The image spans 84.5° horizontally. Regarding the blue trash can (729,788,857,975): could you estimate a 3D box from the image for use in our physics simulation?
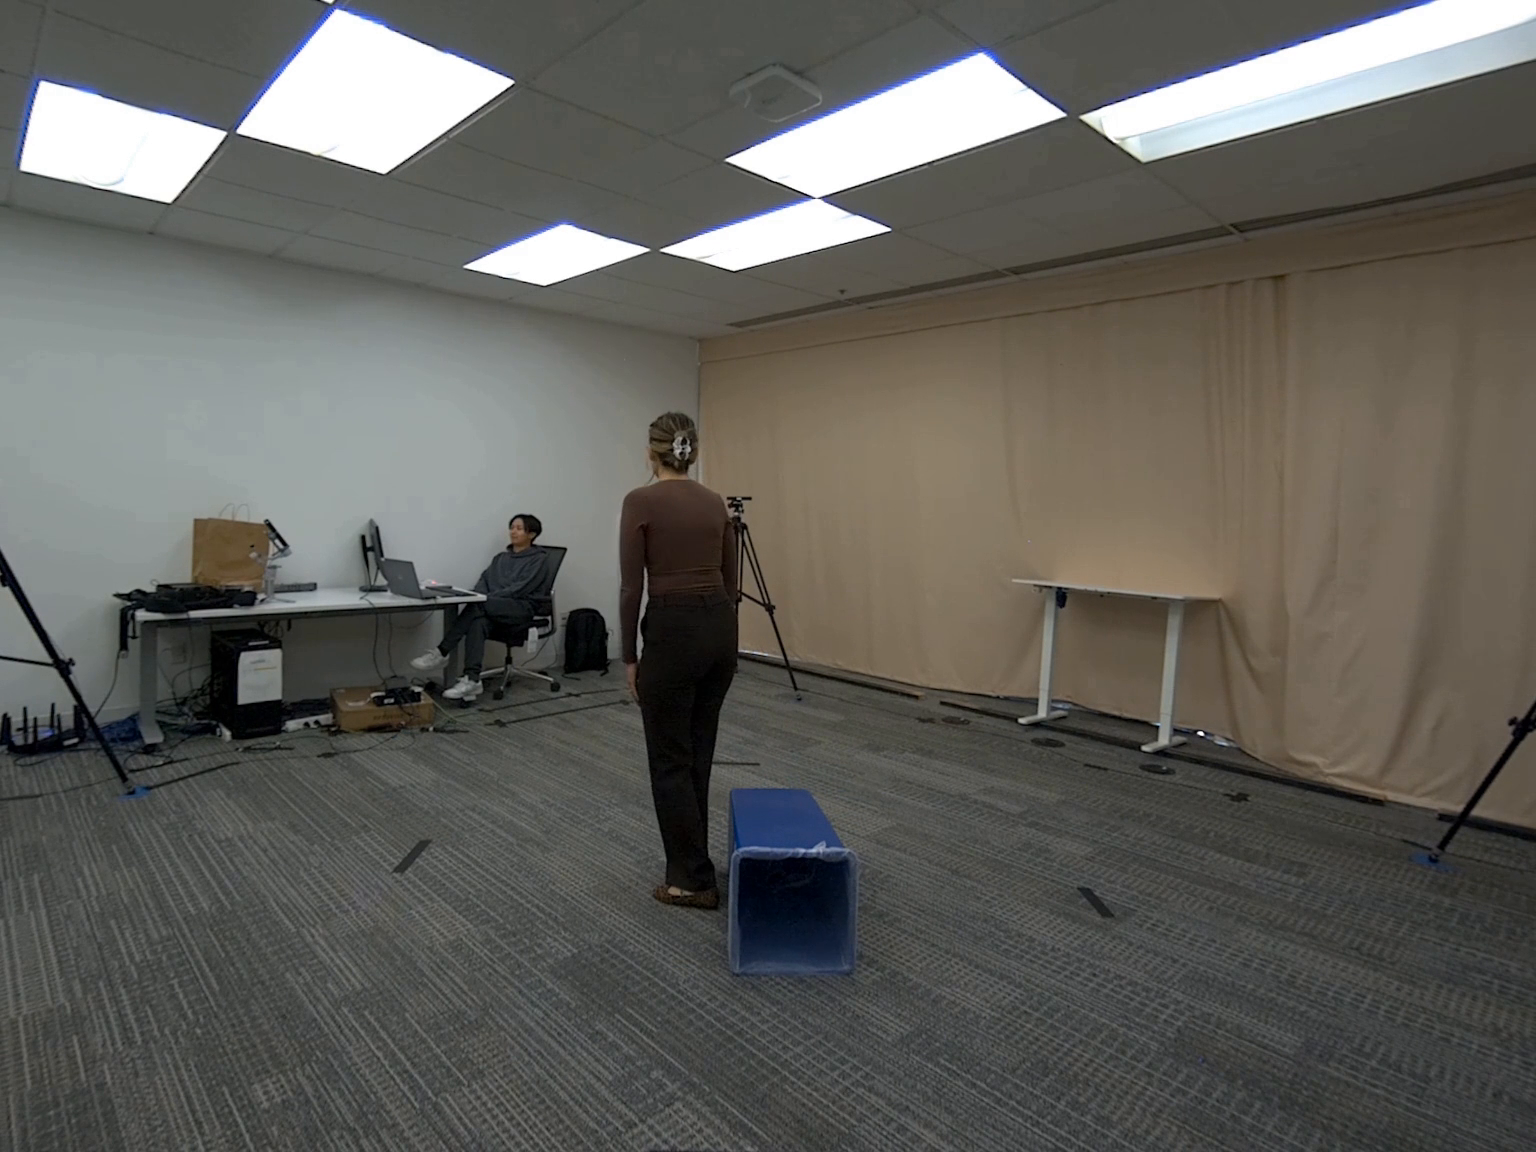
[{"bbox_3d":[0.030,0.974,2.809,0.372,0.378,0.717,1,2,-7],"label":"blue trash can"}]
